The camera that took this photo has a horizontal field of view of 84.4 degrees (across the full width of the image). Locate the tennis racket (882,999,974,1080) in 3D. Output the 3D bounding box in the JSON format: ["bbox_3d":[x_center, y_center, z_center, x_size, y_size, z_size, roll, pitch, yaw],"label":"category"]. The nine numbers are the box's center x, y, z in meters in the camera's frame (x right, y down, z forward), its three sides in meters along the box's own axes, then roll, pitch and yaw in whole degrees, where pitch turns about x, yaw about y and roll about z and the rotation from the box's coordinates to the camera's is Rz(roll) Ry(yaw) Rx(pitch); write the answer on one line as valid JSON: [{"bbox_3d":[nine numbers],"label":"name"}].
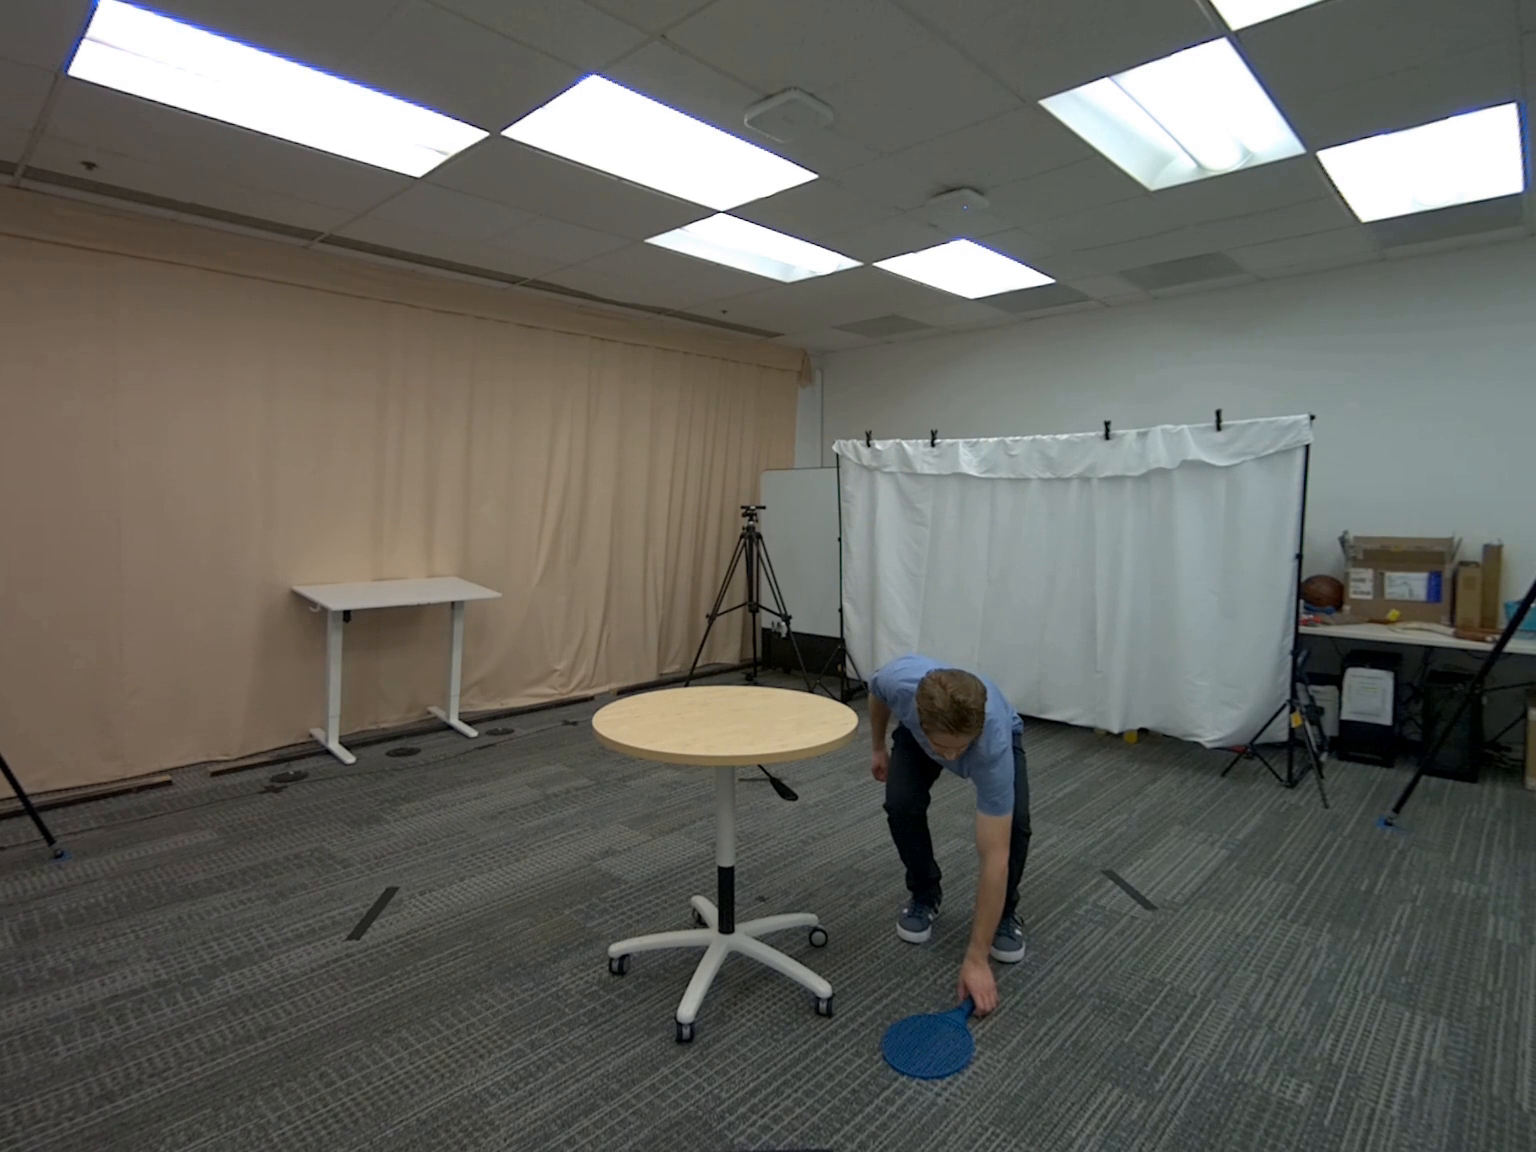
[{"bbox_3d":[0.472,1.193,2.216,0.221,0.031,0.420,4,9,43],"label":"tennis racket"}]
